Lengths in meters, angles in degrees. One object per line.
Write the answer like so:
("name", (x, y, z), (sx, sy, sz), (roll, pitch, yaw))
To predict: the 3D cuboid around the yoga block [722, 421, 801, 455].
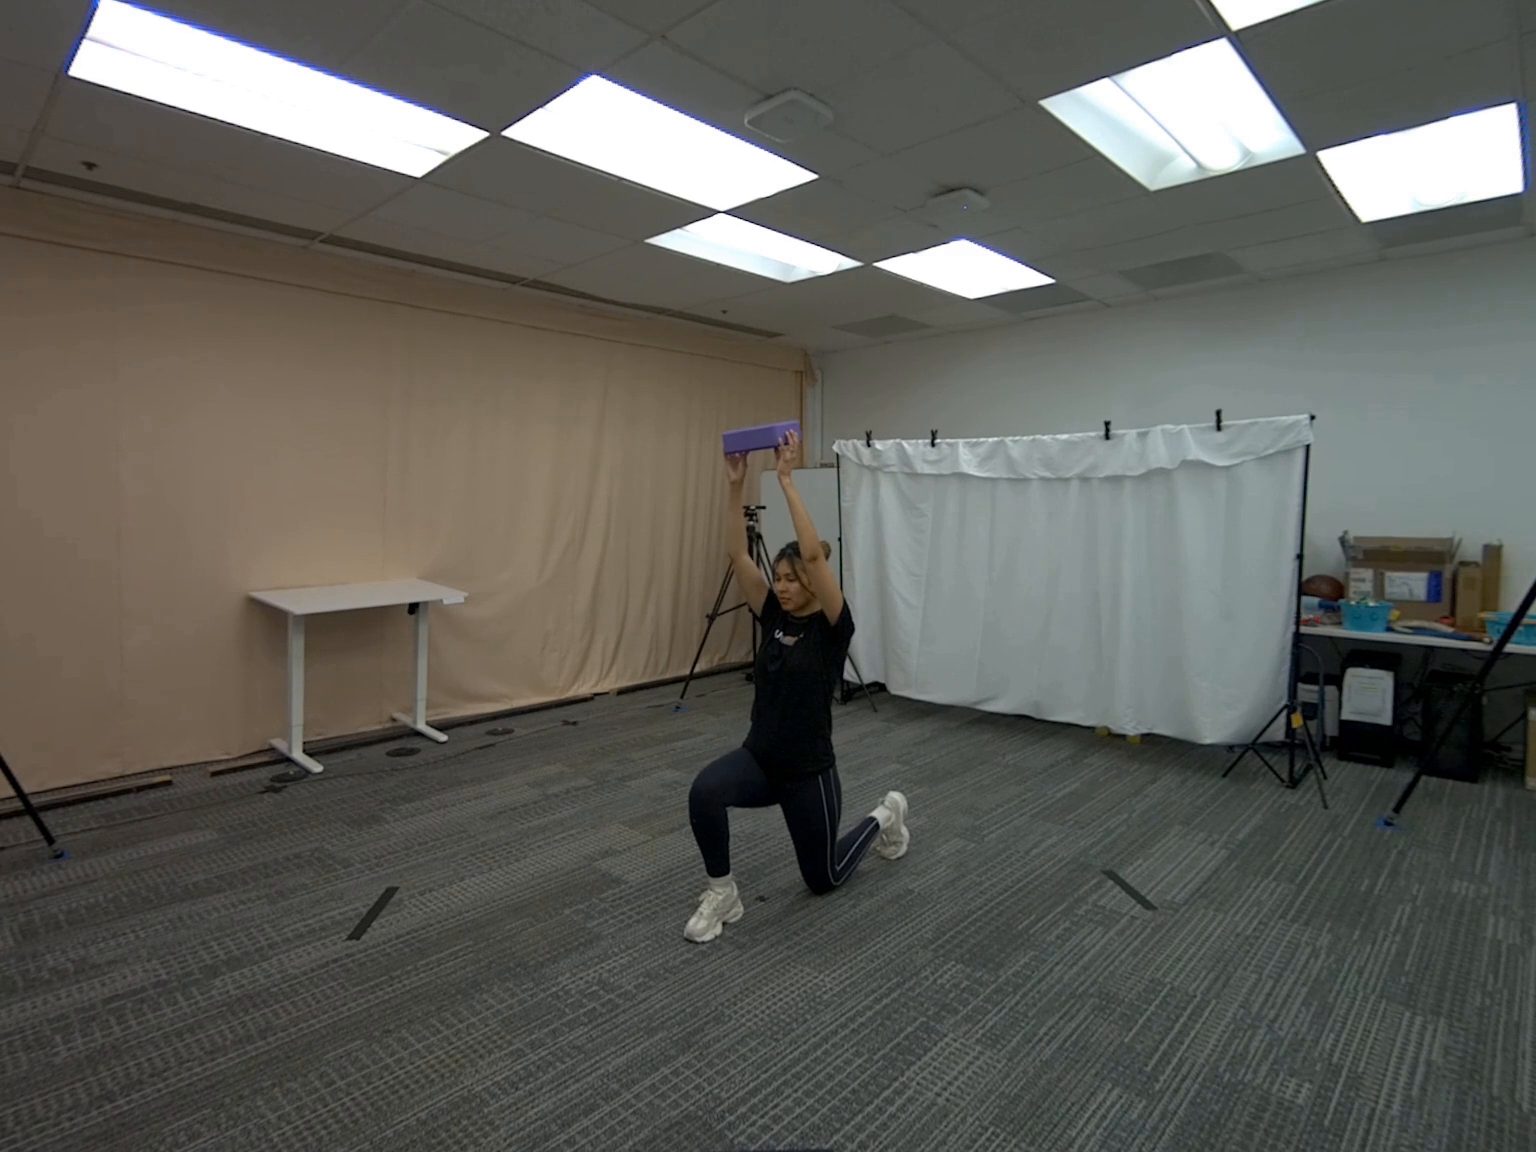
("yoga block", (-0.019, -0.464, 2.797), (0.236, 0.076, 0.145), (-1, 13, 38))
